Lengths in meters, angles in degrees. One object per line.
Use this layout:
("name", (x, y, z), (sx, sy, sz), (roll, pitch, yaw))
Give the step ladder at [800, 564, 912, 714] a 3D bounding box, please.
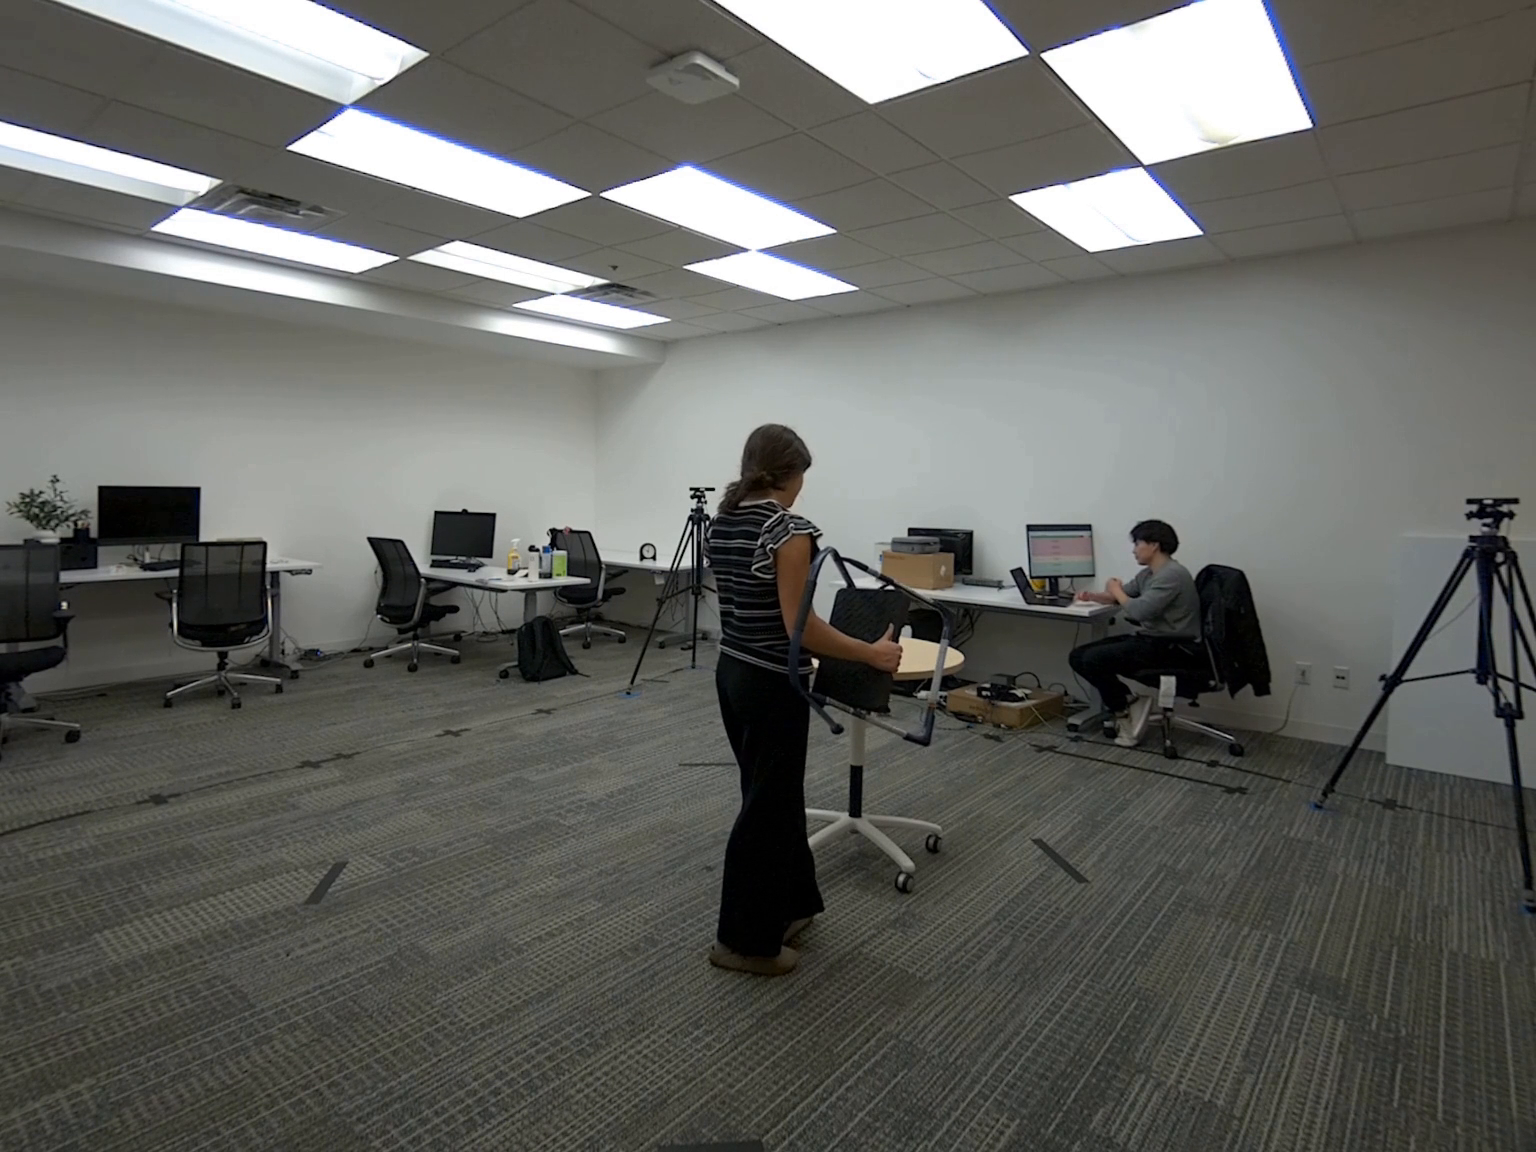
("step ladder", (0.216, 0.177, 2.424), (0.360, 0.435, 0.581), (0, -23, 42))
